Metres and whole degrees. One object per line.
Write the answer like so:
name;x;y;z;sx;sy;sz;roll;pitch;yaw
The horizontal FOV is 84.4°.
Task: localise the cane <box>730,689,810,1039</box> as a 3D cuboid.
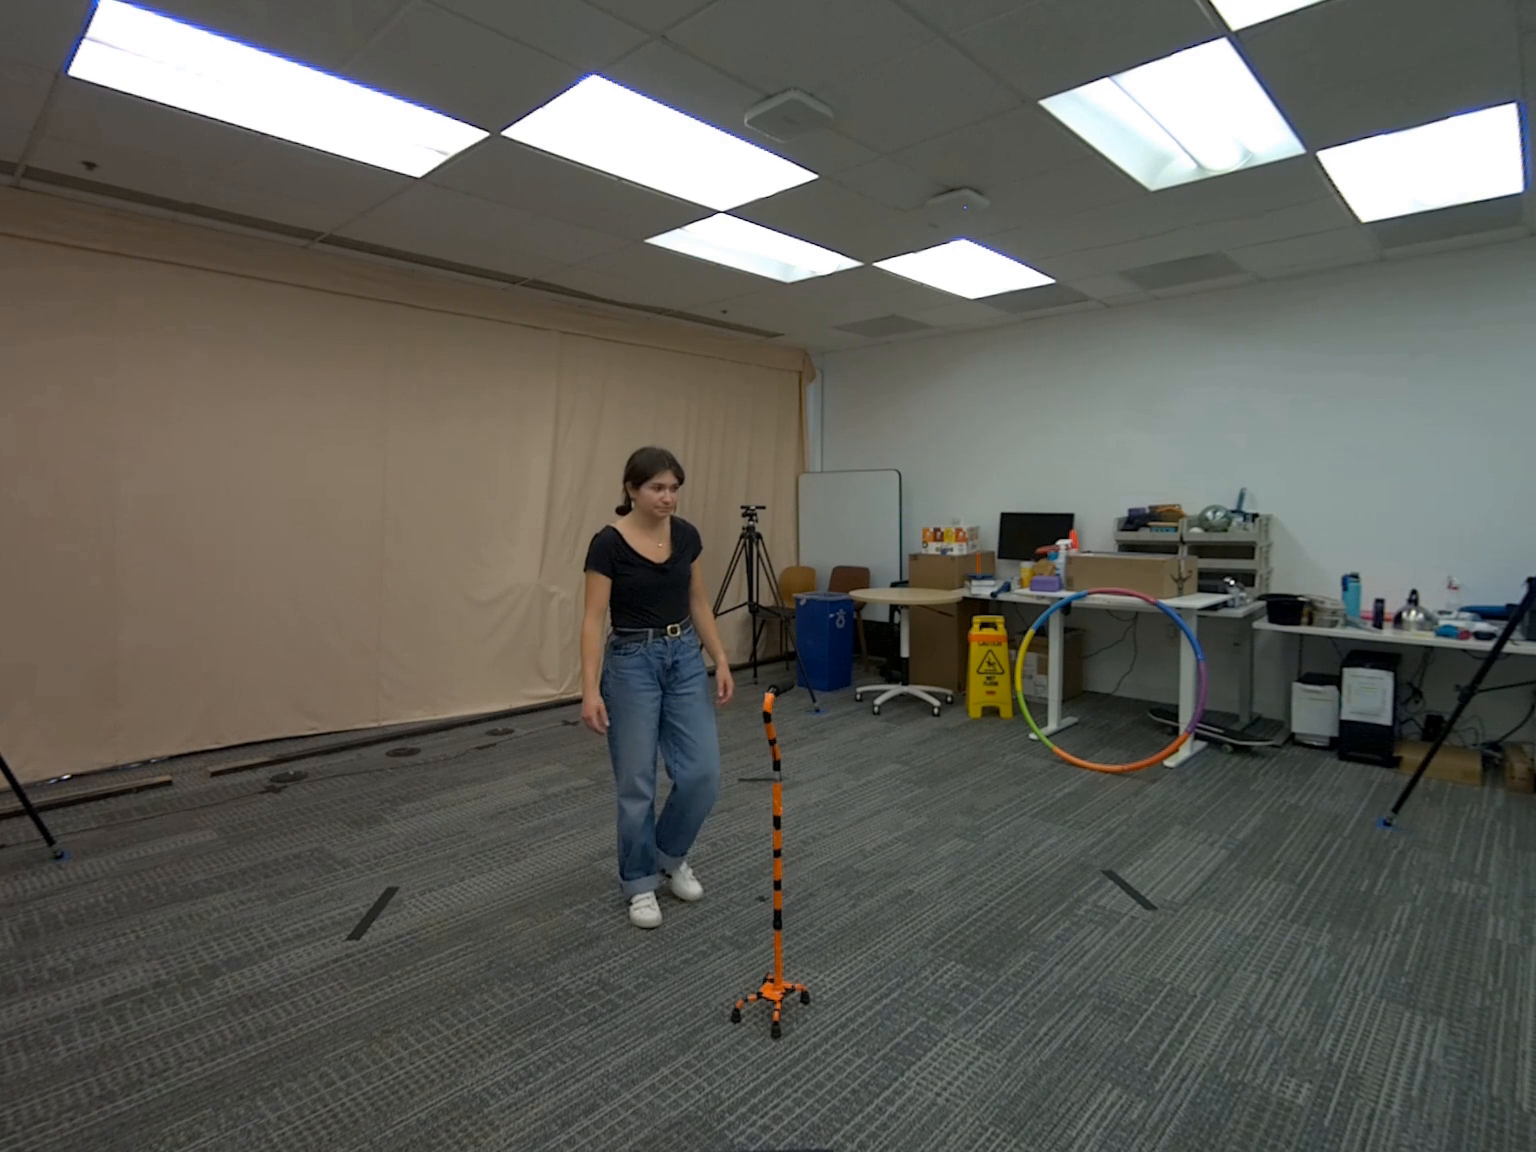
cane;0.022;0.753;2.291;0.156;0.906;0.201;2;4;28
